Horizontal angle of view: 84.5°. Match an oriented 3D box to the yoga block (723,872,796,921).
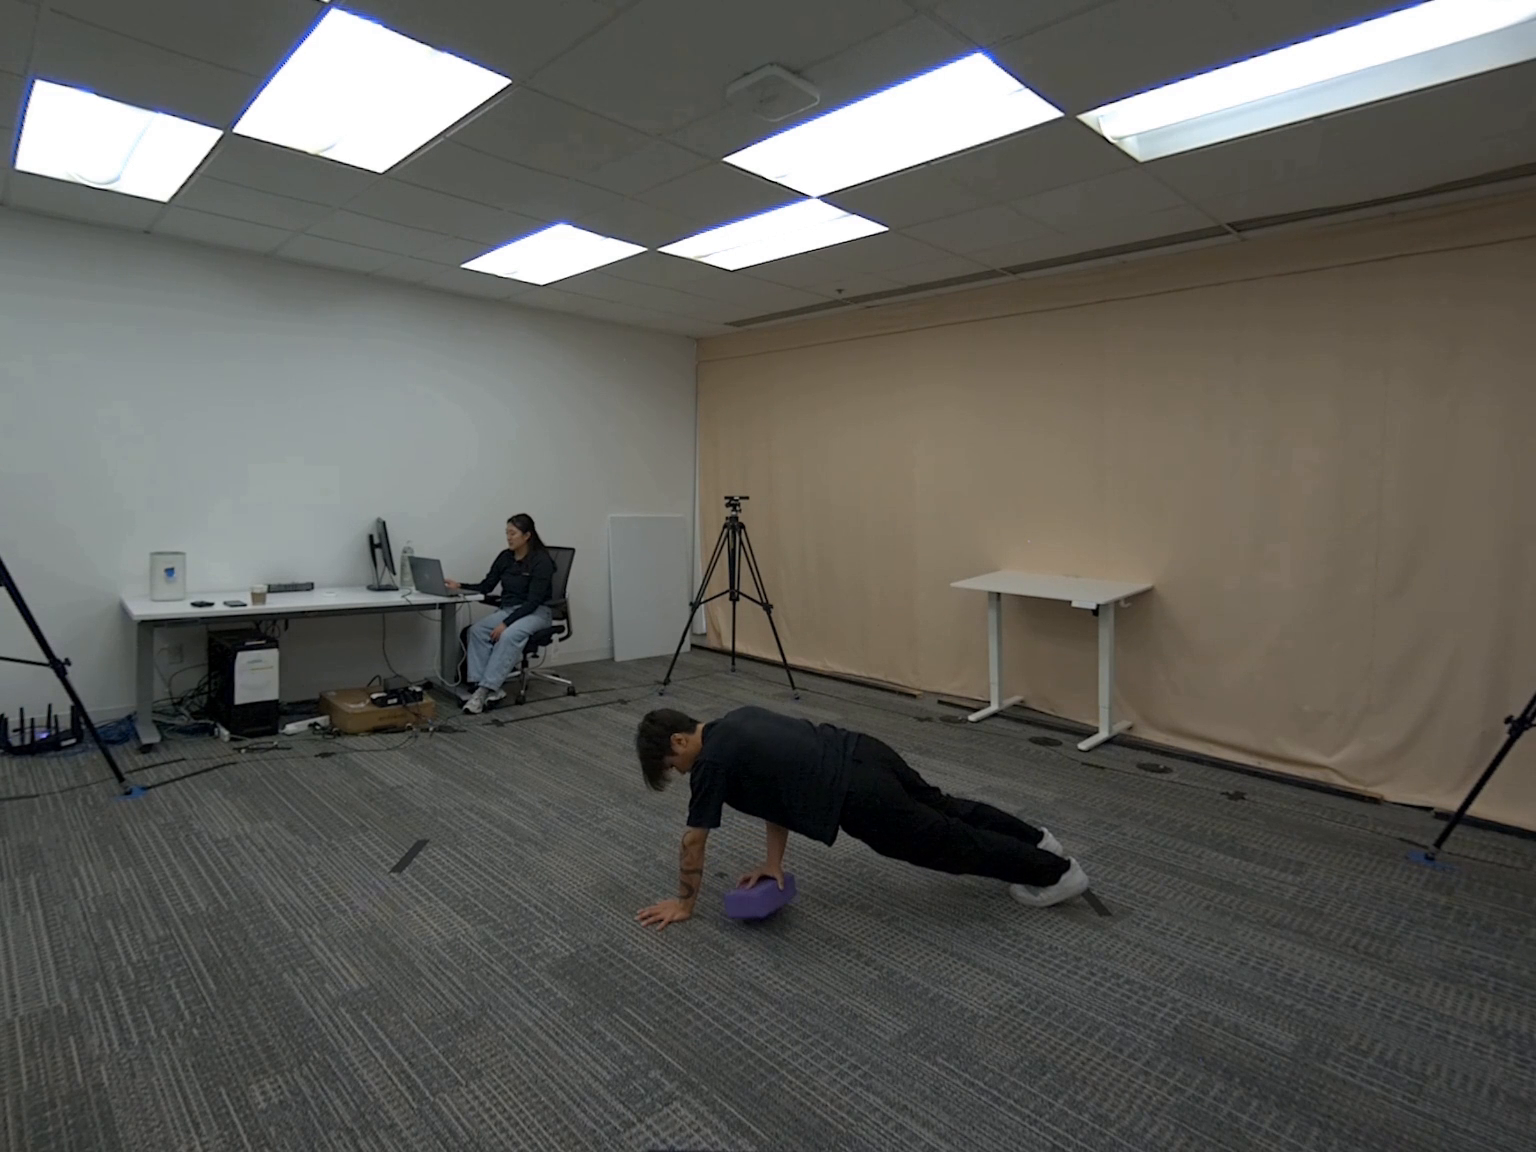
[{"bbox_3d":[-0.022,1.056,2.787,0.151,0.077,0.224,-13,-6,28],"label":"yoga block"}]
